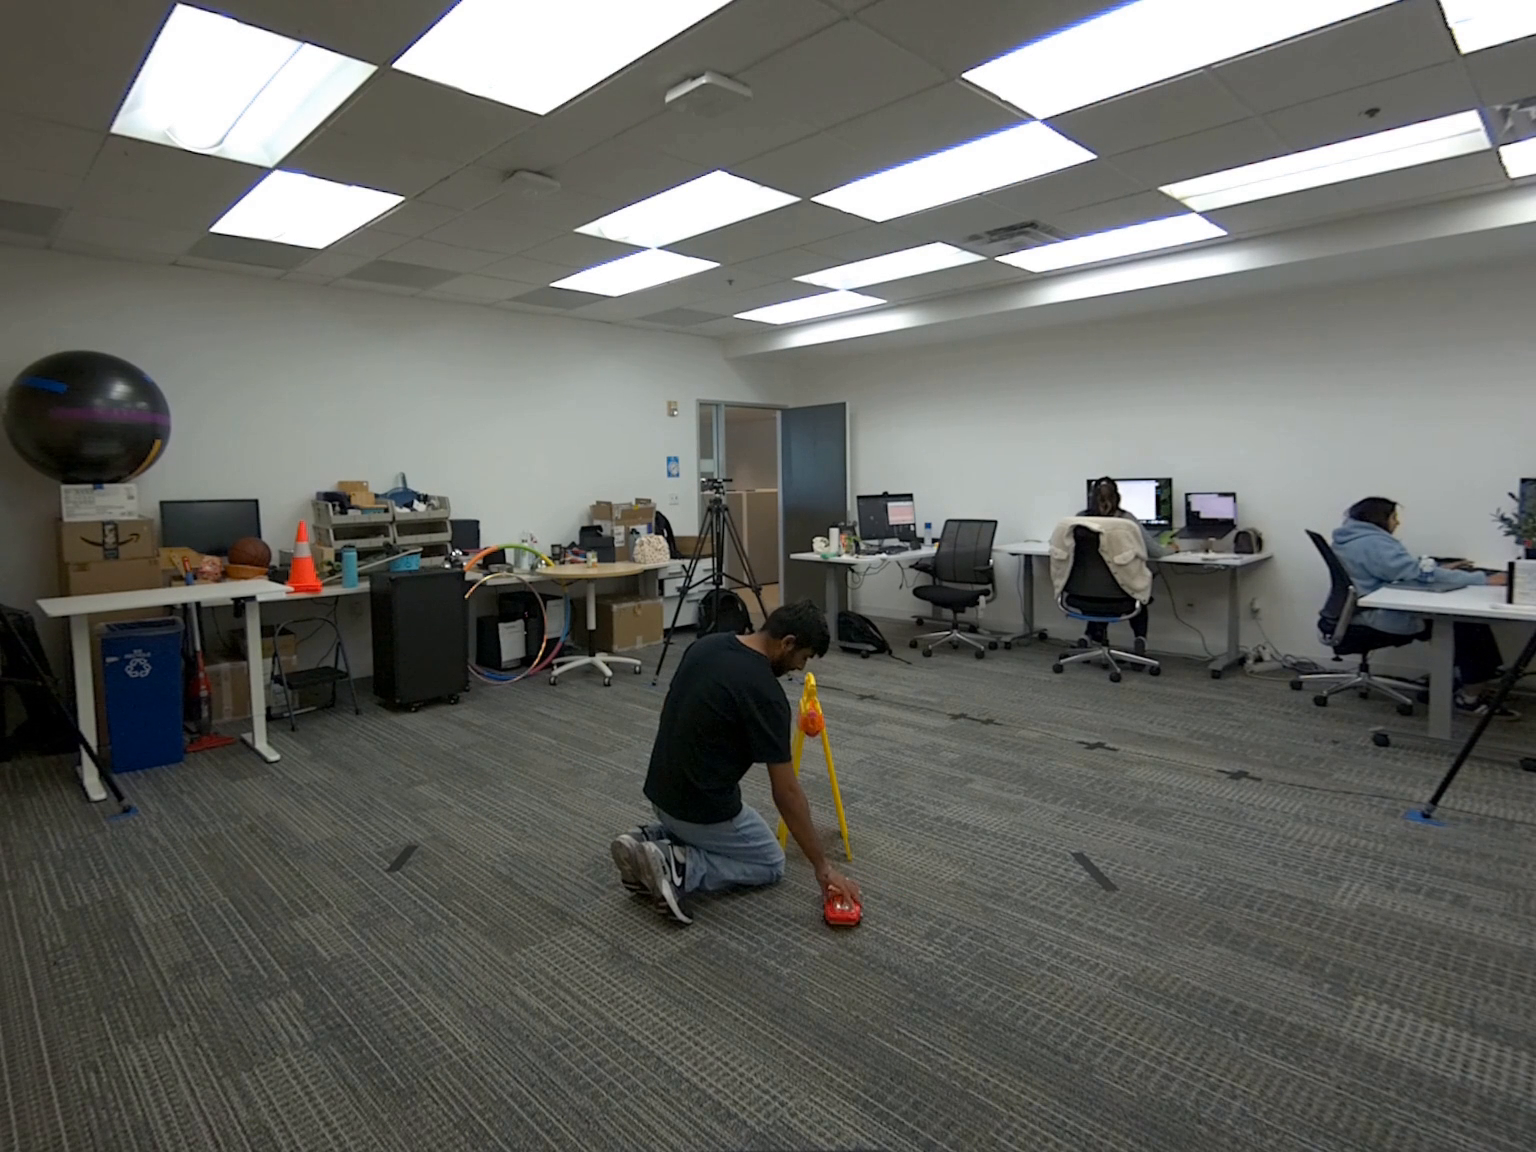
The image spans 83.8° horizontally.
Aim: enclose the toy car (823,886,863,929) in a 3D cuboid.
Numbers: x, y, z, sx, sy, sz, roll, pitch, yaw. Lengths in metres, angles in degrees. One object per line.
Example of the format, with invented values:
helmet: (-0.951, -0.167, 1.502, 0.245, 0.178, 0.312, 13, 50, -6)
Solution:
toy car: (0.240, 1.043, 2.725, 0.131, 0.084, 0.251, 0, -5, 7)
